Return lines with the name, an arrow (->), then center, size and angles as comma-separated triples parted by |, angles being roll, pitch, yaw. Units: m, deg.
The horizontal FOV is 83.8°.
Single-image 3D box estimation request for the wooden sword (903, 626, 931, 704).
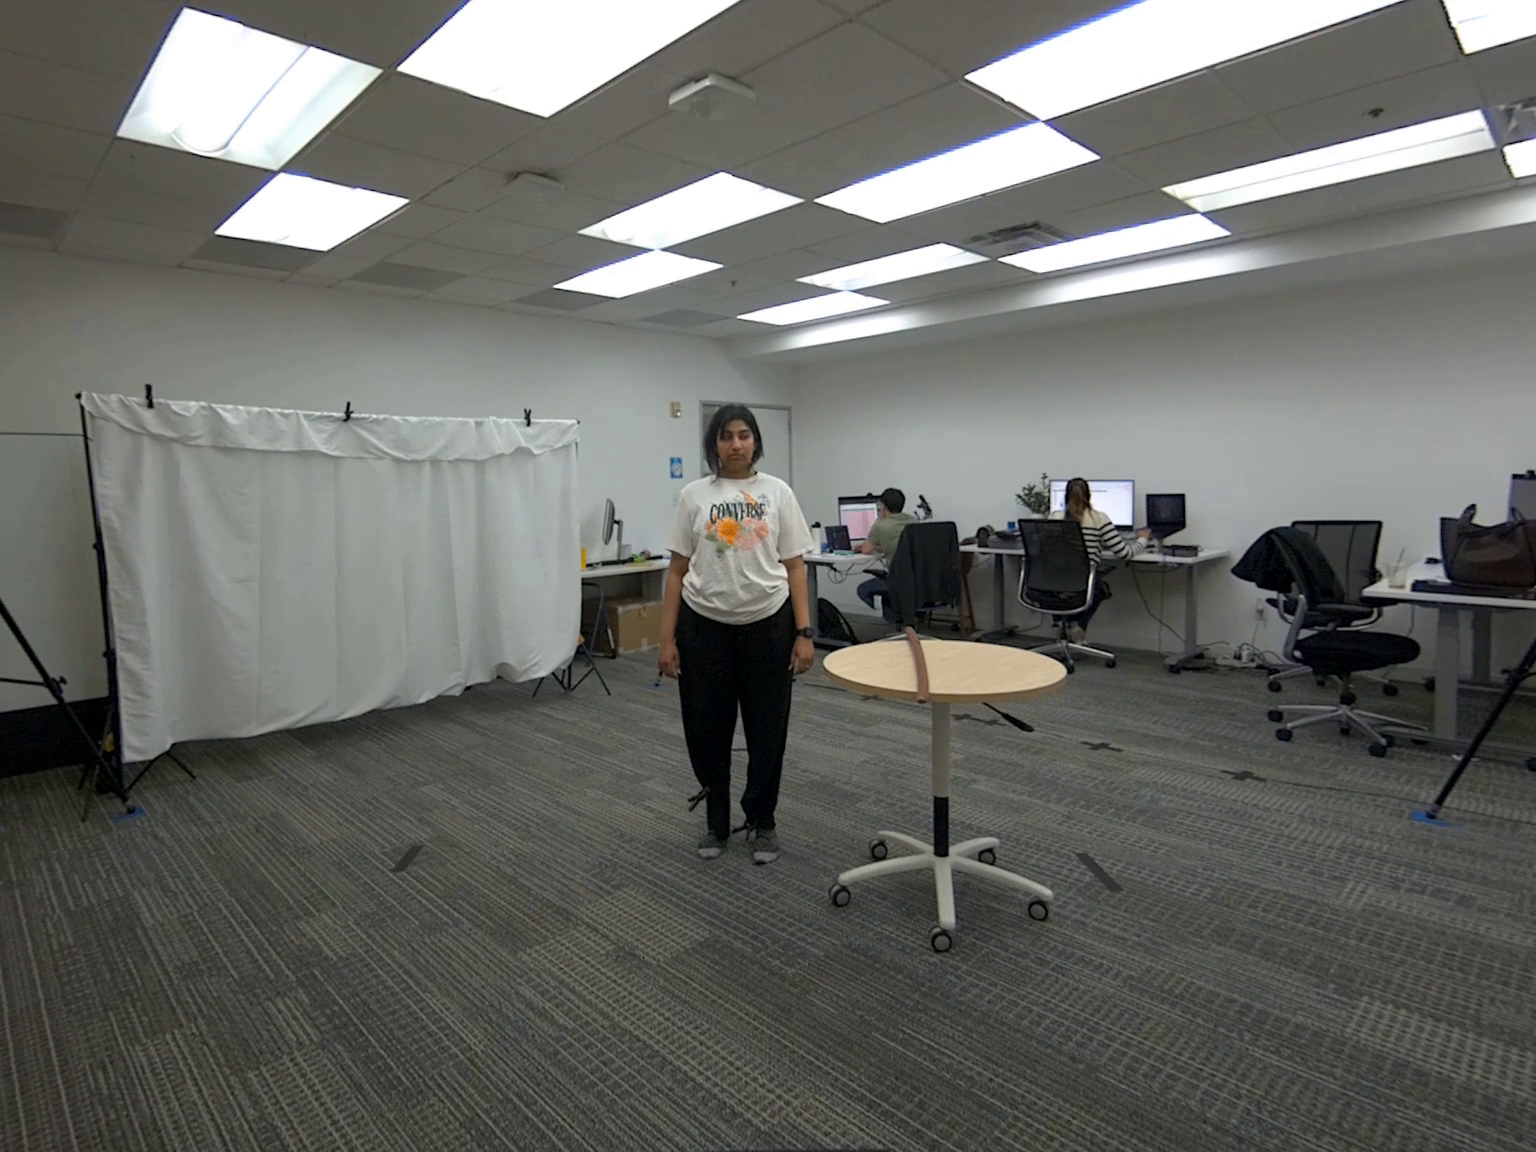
wooden sword -> 0.474, 0.249, 2.879 | 0.051, 0.024, 1.021 | 28, 11, 3
